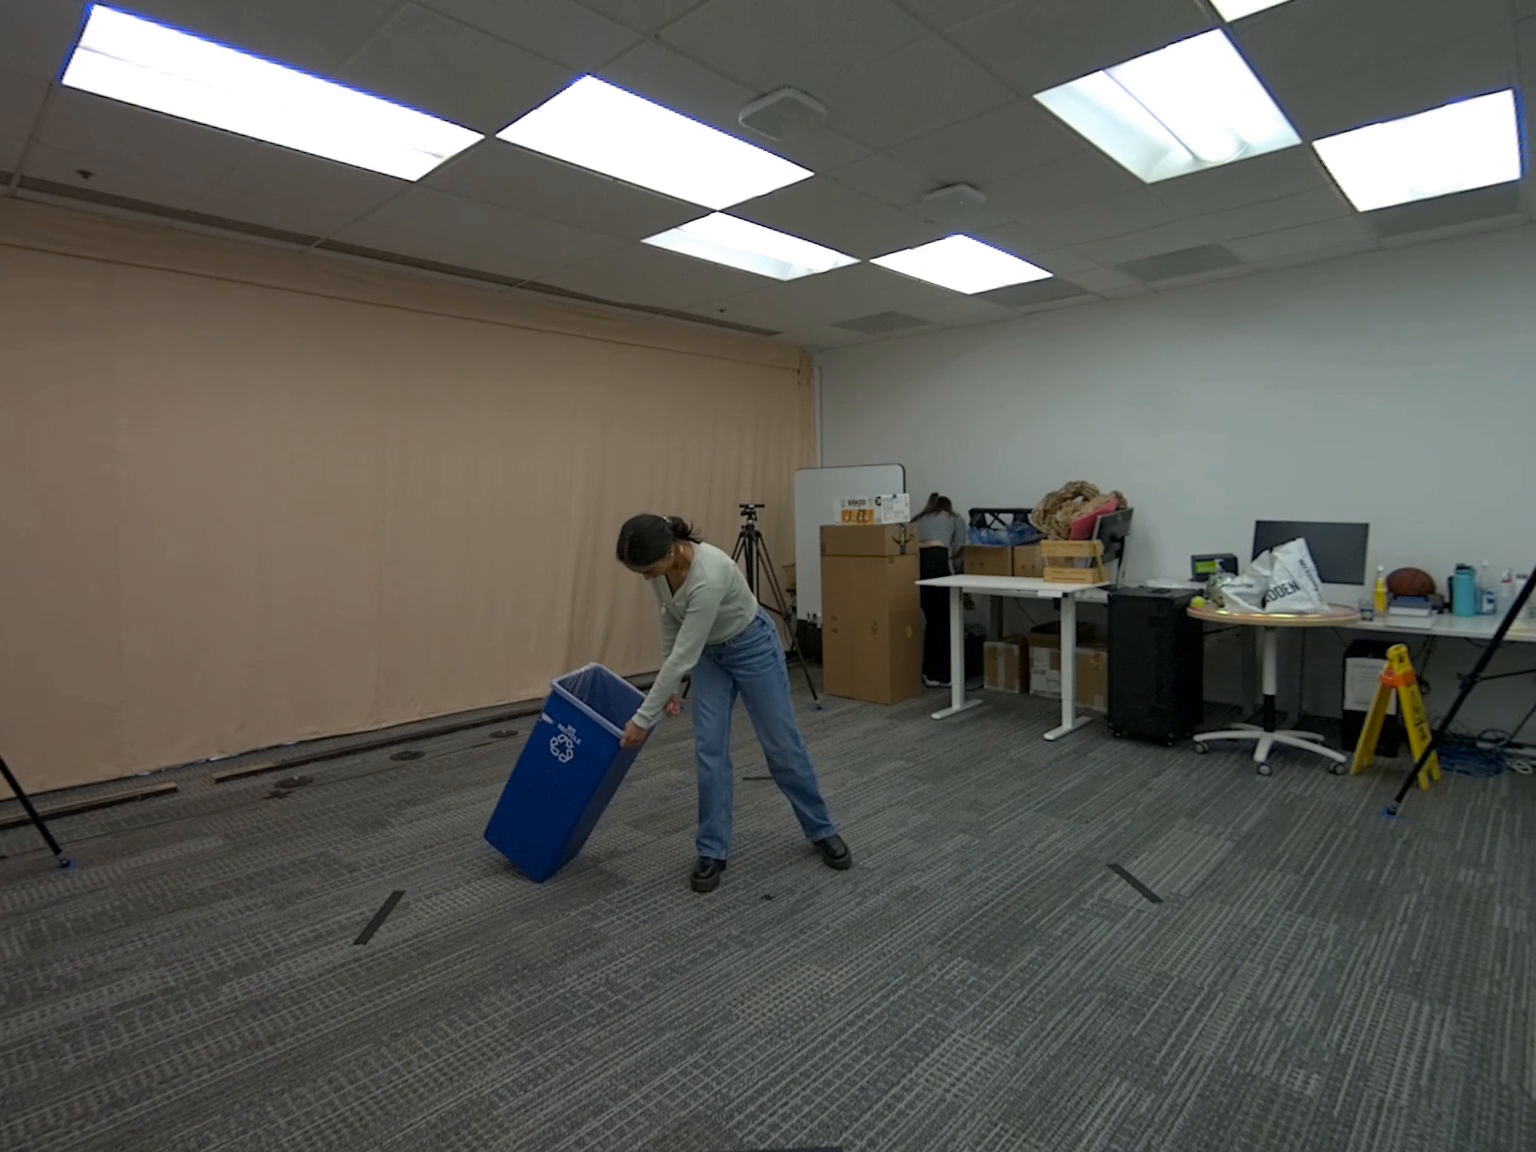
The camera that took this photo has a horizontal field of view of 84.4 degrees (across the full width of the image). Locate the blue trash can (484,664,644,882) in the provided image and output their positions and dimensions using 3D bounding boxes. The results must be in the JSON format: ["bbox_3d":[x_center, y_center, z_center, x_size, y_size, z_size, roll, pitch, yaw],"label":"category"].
[{"bbox_3d":[-0.757,0.755,3.231,0.381,0.713,0.372,32,13,13],"label":"blue trash can"}]
